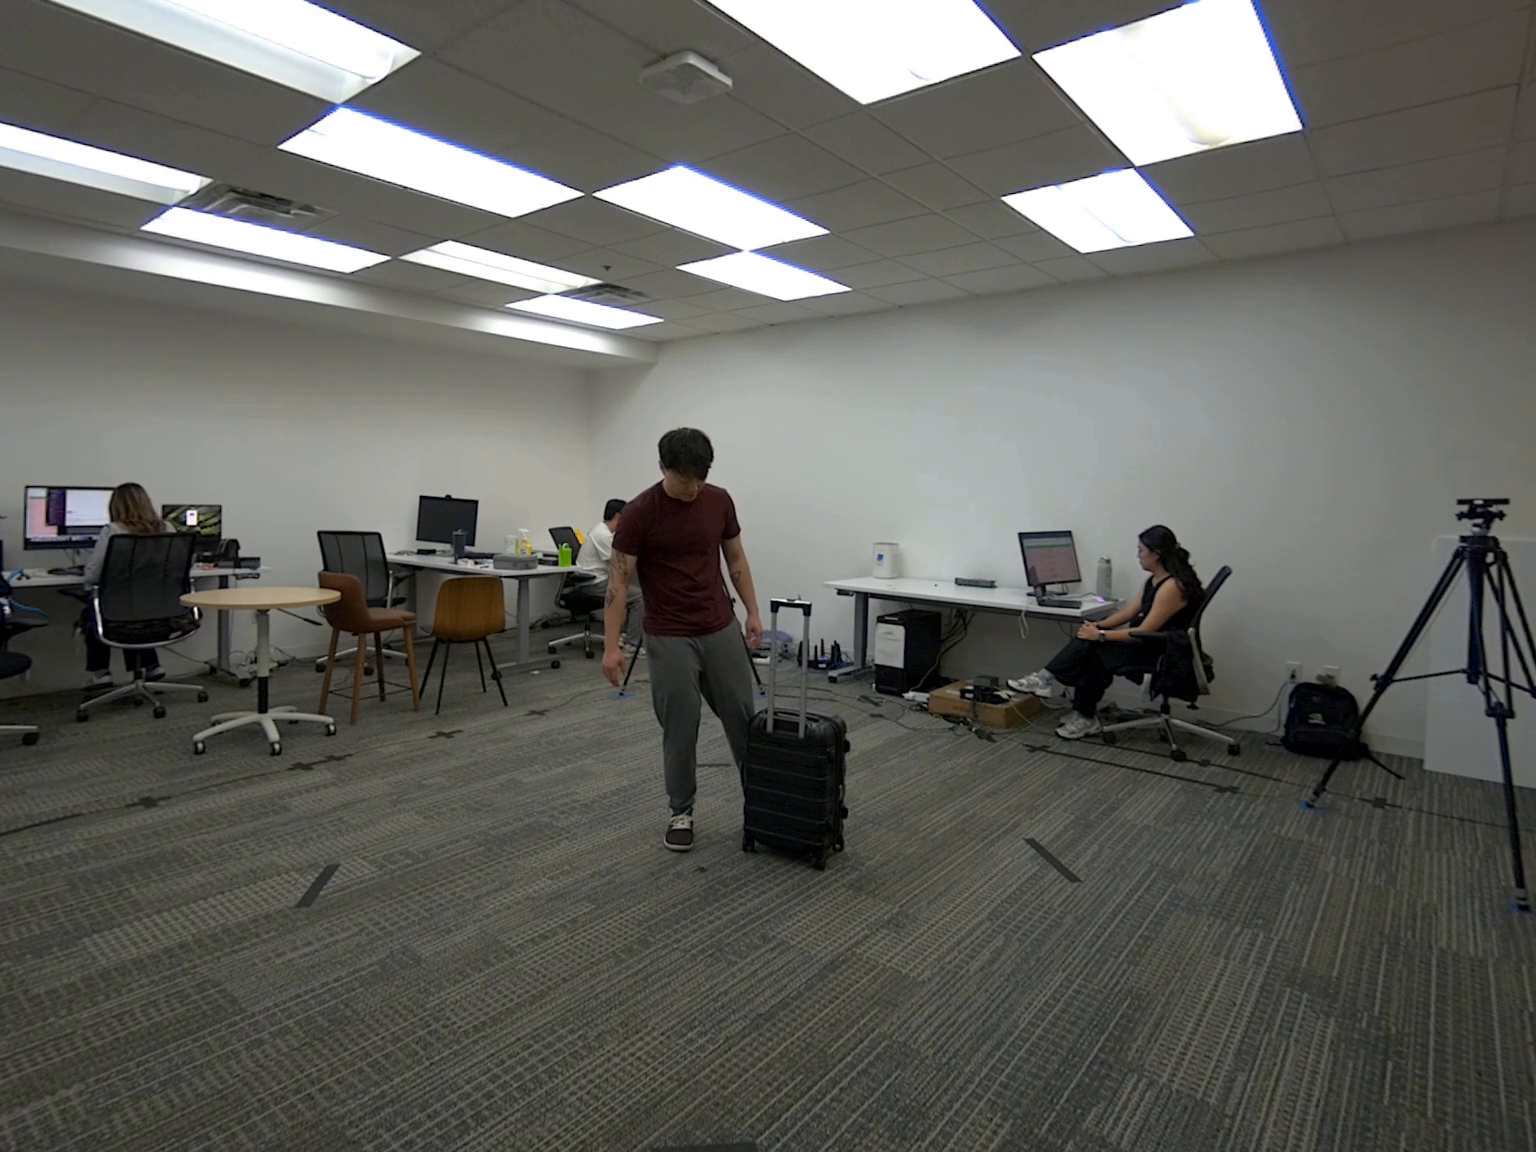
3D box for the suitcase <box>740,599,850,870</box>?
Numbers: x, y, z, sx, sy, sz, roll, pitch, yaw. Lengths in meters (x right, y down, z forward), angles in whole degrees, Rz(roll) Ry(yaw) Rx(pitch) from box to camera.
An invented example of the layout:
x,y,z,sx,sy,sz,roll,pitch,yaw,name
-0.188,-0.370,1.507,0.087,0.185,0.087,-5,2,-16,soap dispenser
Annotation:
x,y,z,sx,sy,sz,roll,pitch,yaw,name
0.104,0.581,3.257,0.394,0.977,0.251,3,2,26,suitcase
